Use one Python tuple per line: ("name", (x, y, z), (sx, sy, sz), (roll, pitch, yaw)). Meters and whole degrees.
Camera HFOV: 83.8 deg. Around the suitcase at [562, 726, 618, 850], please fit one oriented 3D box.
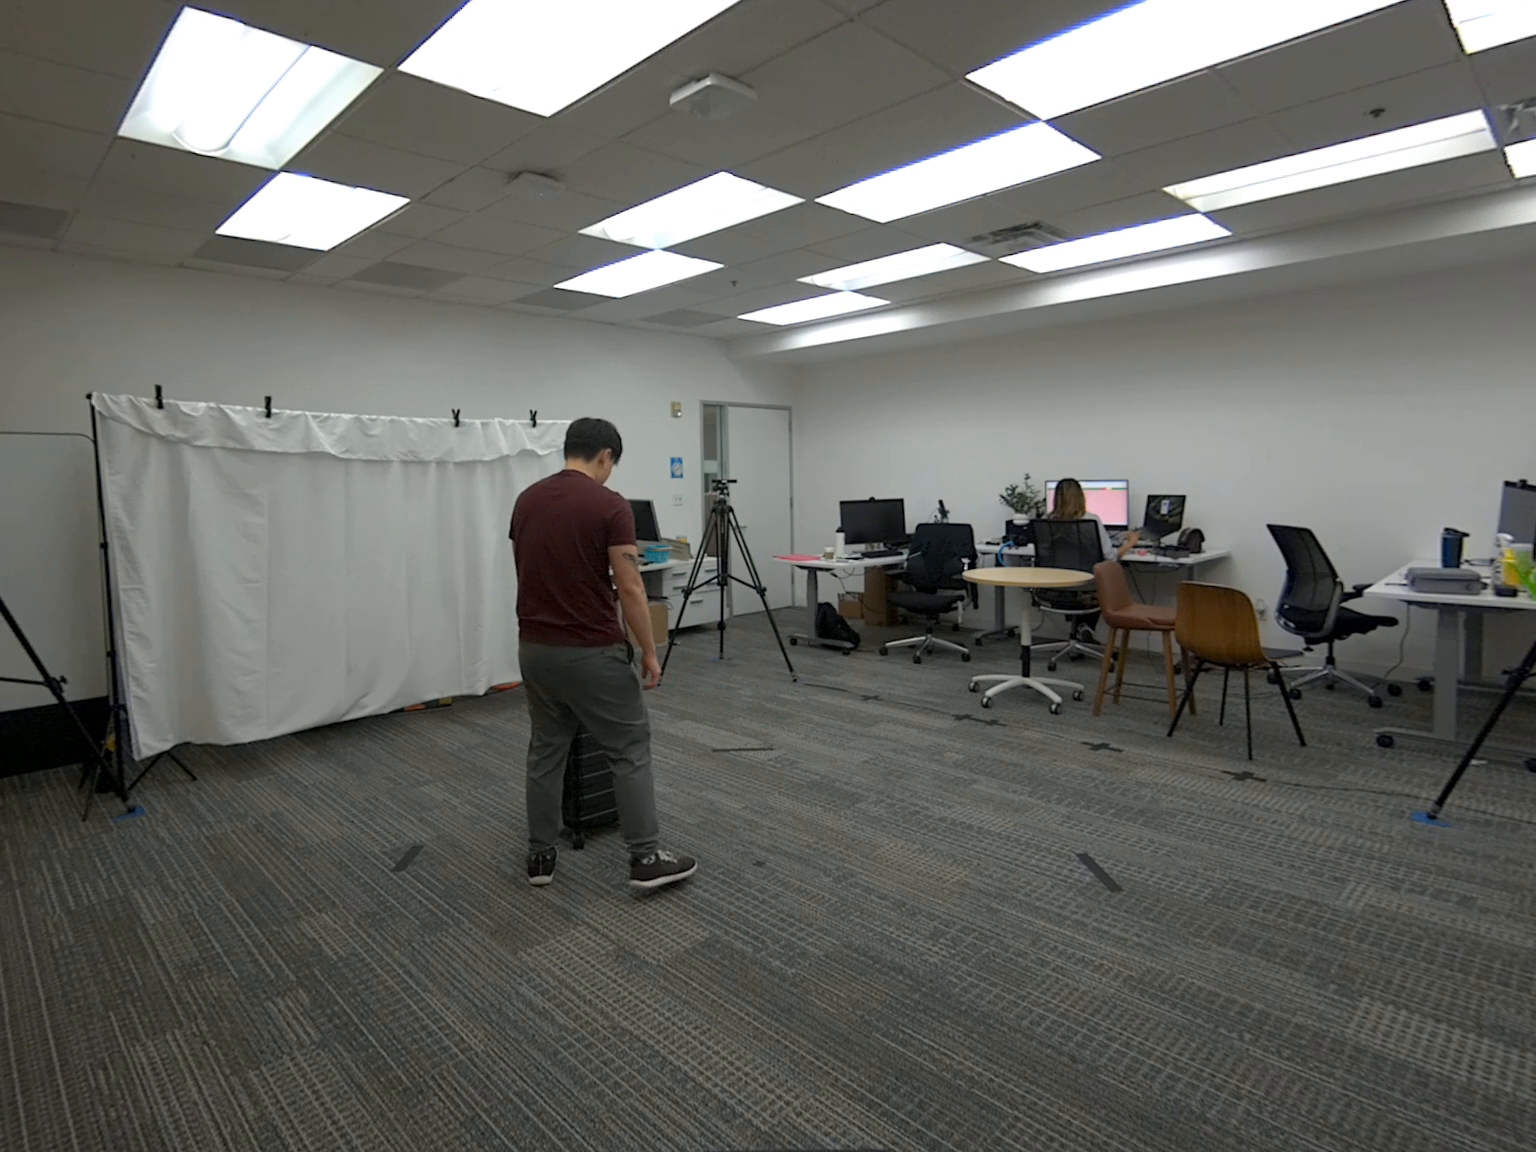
("suitcase", (-0.716, 0.543, 3.465), (0.373, 0.979, 0.264), (-2, -1, -42))
